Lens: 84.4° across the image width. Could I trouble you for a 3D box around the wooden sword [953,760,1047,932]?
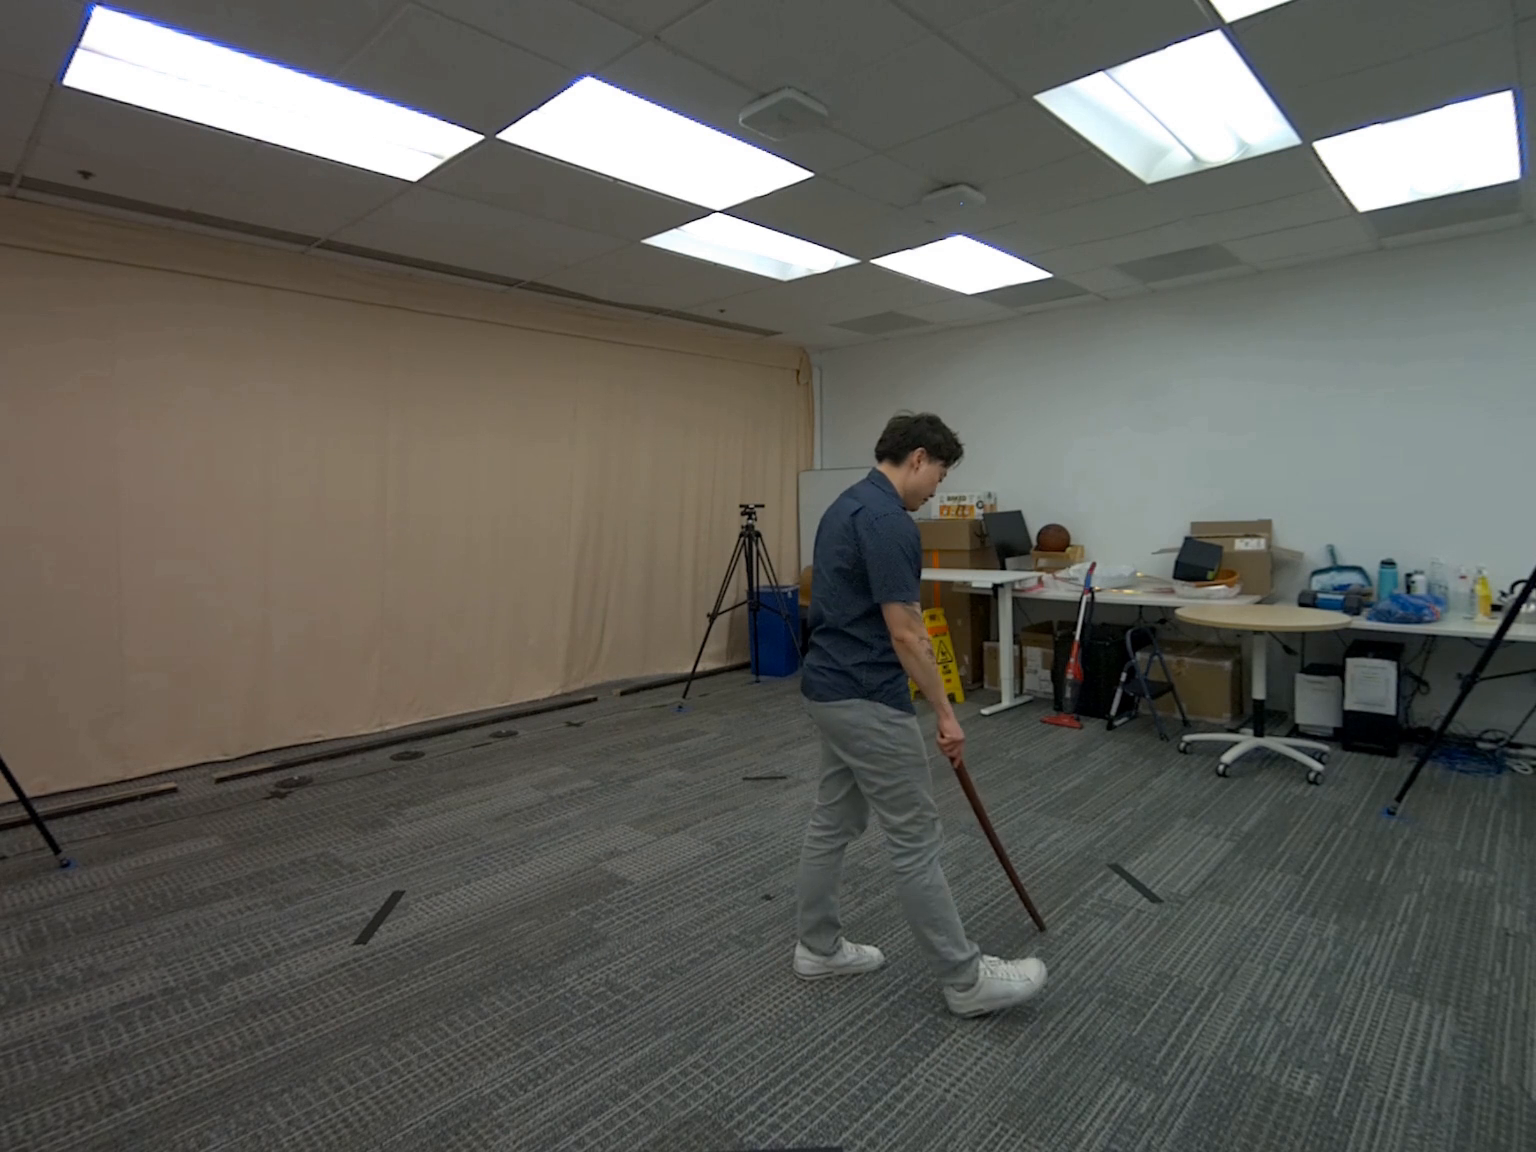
[{"bbox_3d":[0.678,0.800,2.455,0.051,0.994,0.025,-39,34,-10],"label":"wooden sword"}]
